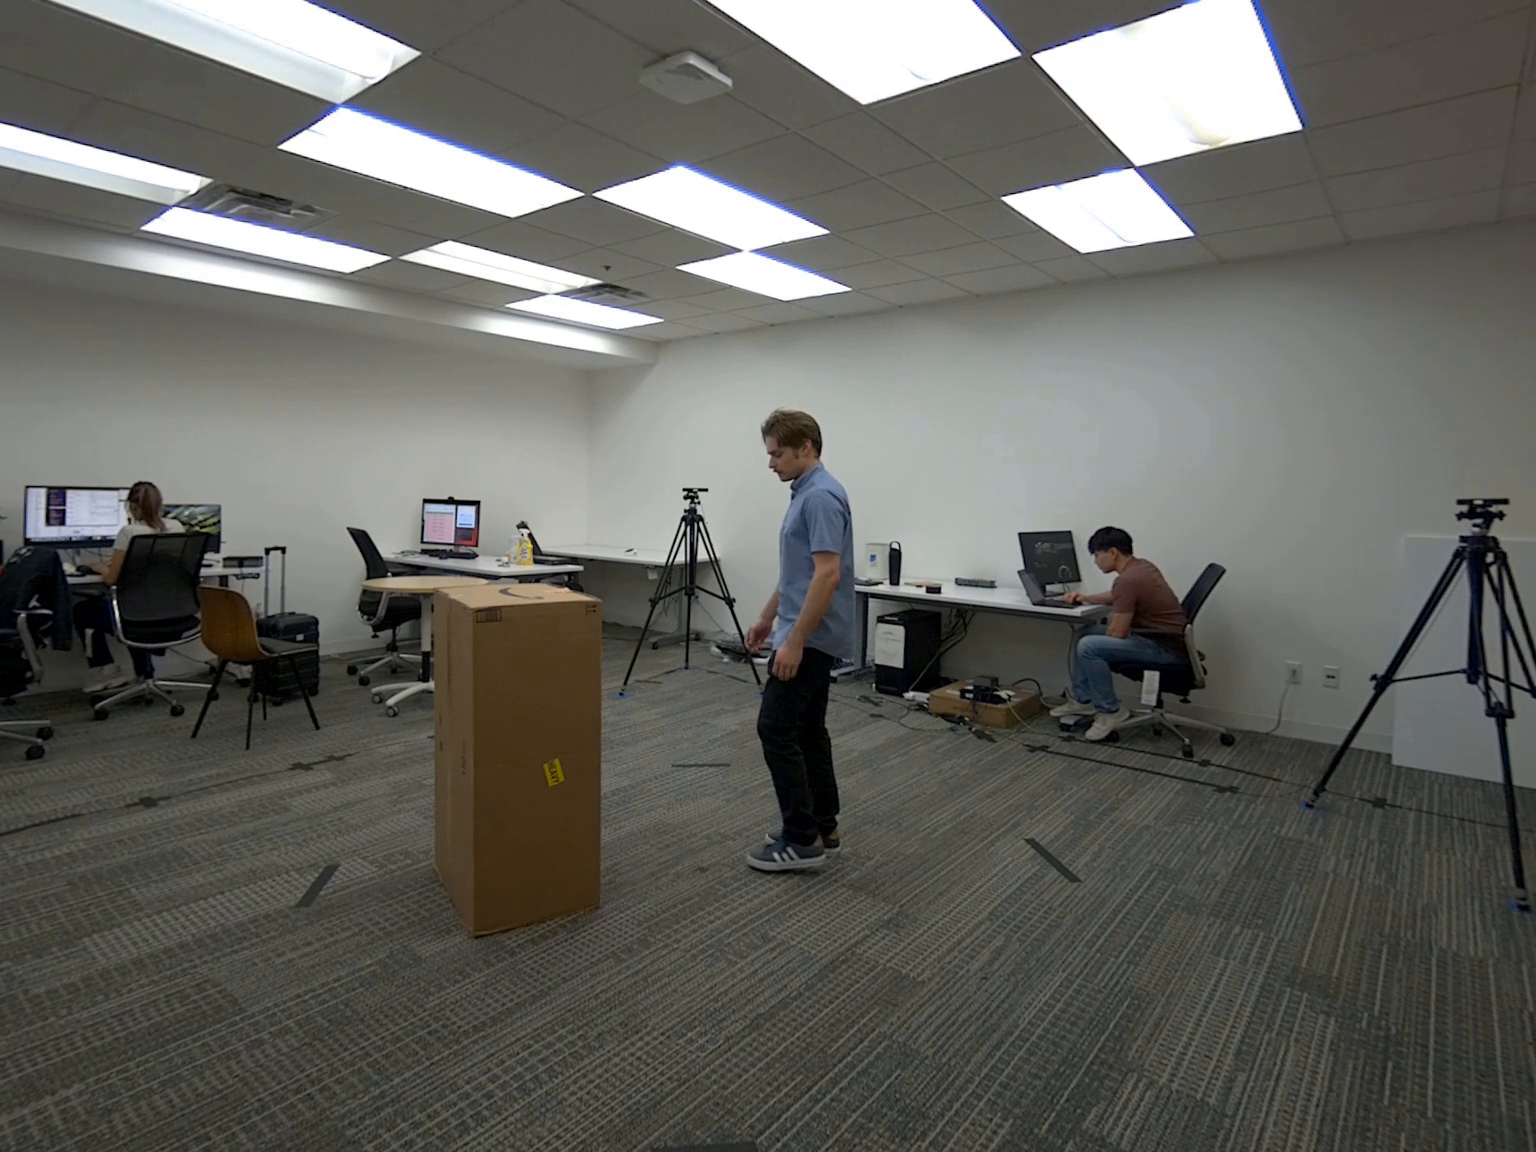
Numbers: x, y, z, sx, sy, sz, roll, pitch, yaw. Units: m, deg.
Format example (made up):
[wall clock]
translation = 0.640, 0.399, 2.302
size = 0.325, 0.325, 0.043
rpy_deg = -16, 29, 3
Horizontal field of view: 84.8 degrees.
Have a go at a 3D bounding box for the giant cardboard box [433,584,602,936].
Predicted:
[giant cardboard box]
translation = -0.886, 0.567, 2.926
size = 0.414, 1.023, 0.595
rpy_deg = -1, 4, -32
